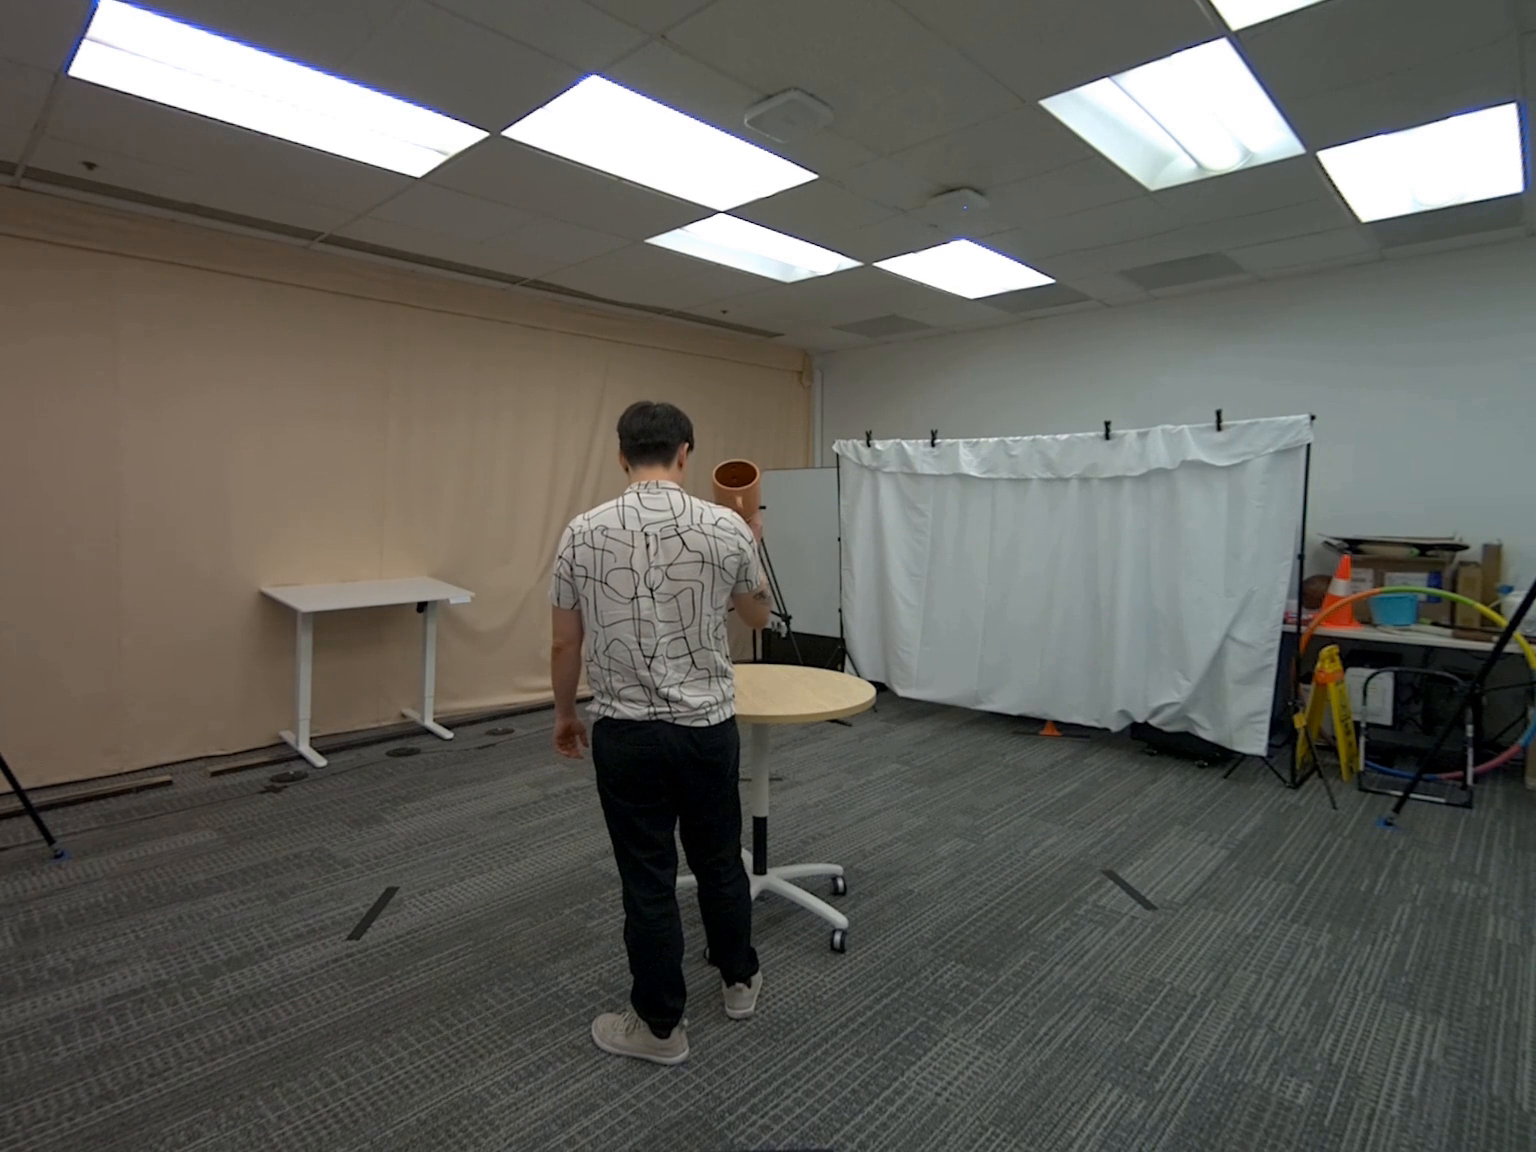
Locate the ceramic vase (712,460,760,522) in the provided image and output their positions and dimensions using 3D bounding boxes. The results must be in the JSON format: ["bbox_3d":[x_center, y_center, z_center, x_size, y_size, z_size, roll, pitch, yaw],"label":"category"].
[{"bbox_3d":[-0.083,-0.205,2.403,0.138,0.215,0.157,22,49,25],"label":"ceramic vase"}]
